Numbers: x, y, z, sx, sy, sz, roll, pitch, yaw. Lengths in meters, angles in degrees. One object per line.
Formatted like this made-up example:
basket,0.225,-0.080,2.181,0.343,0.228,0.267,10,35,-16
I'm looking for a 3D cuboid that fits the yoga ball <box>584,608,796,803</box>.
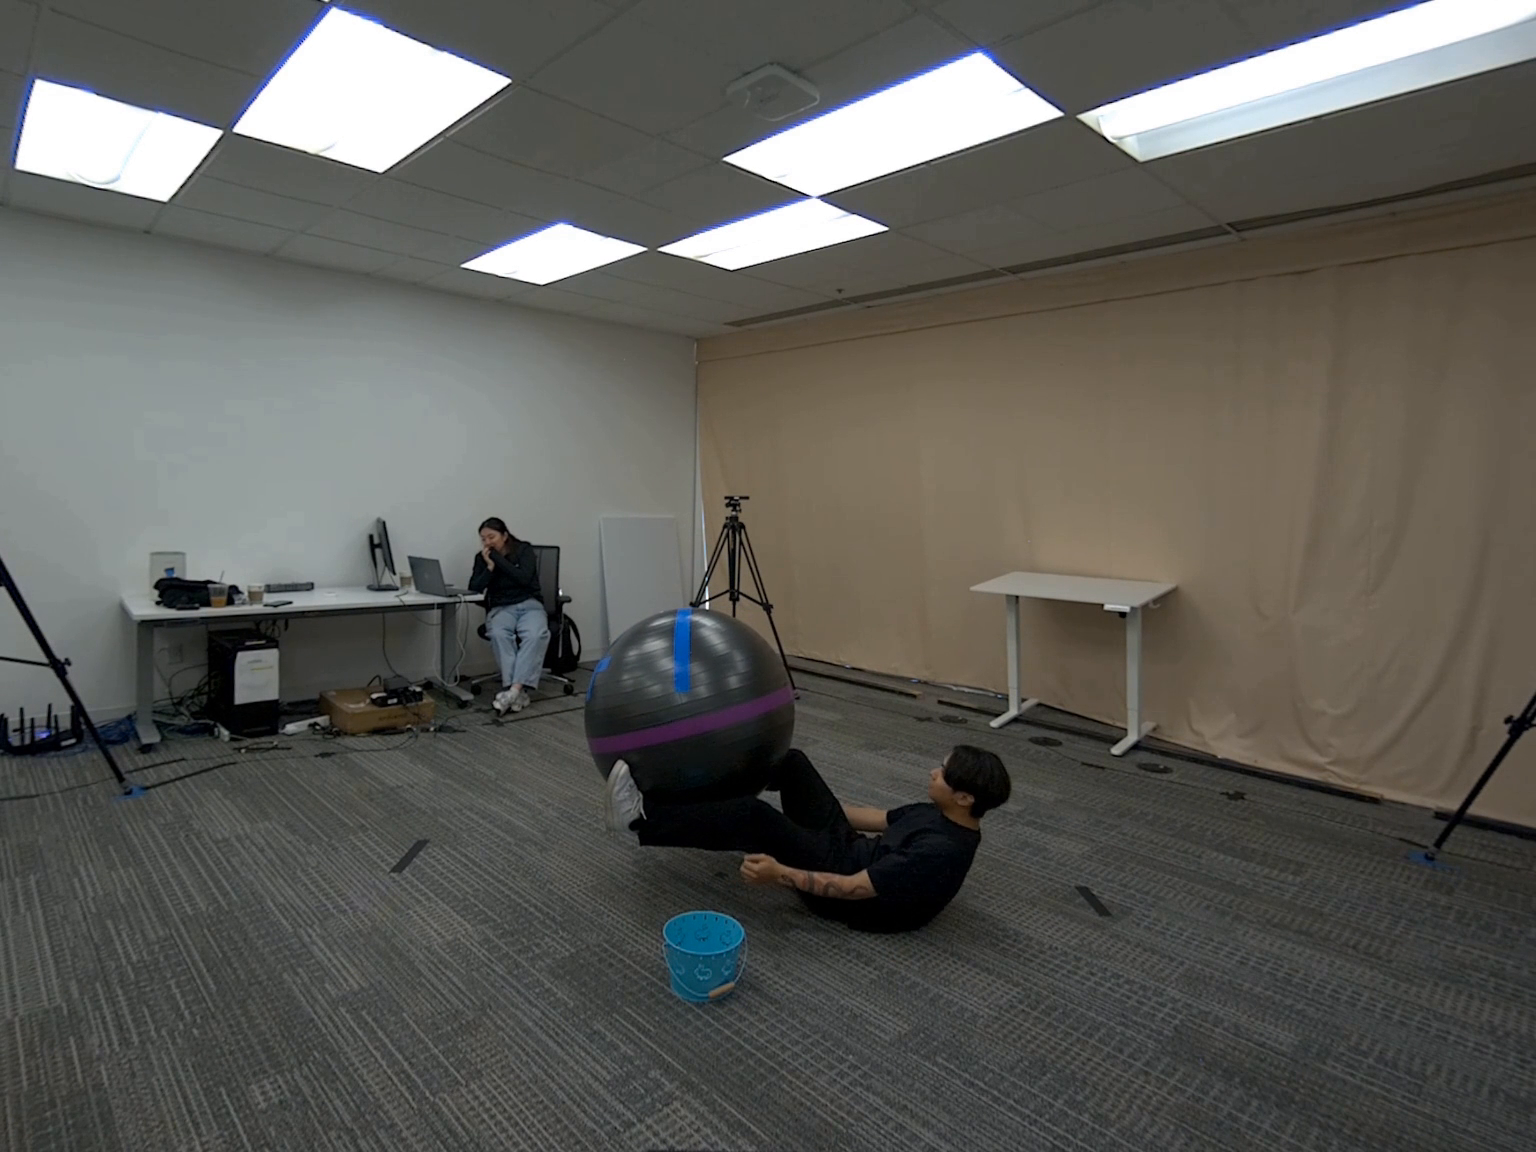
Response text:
yoga ball,-0.284,0.502,3.066,0.757,0.756,0.761,1,4,-1
